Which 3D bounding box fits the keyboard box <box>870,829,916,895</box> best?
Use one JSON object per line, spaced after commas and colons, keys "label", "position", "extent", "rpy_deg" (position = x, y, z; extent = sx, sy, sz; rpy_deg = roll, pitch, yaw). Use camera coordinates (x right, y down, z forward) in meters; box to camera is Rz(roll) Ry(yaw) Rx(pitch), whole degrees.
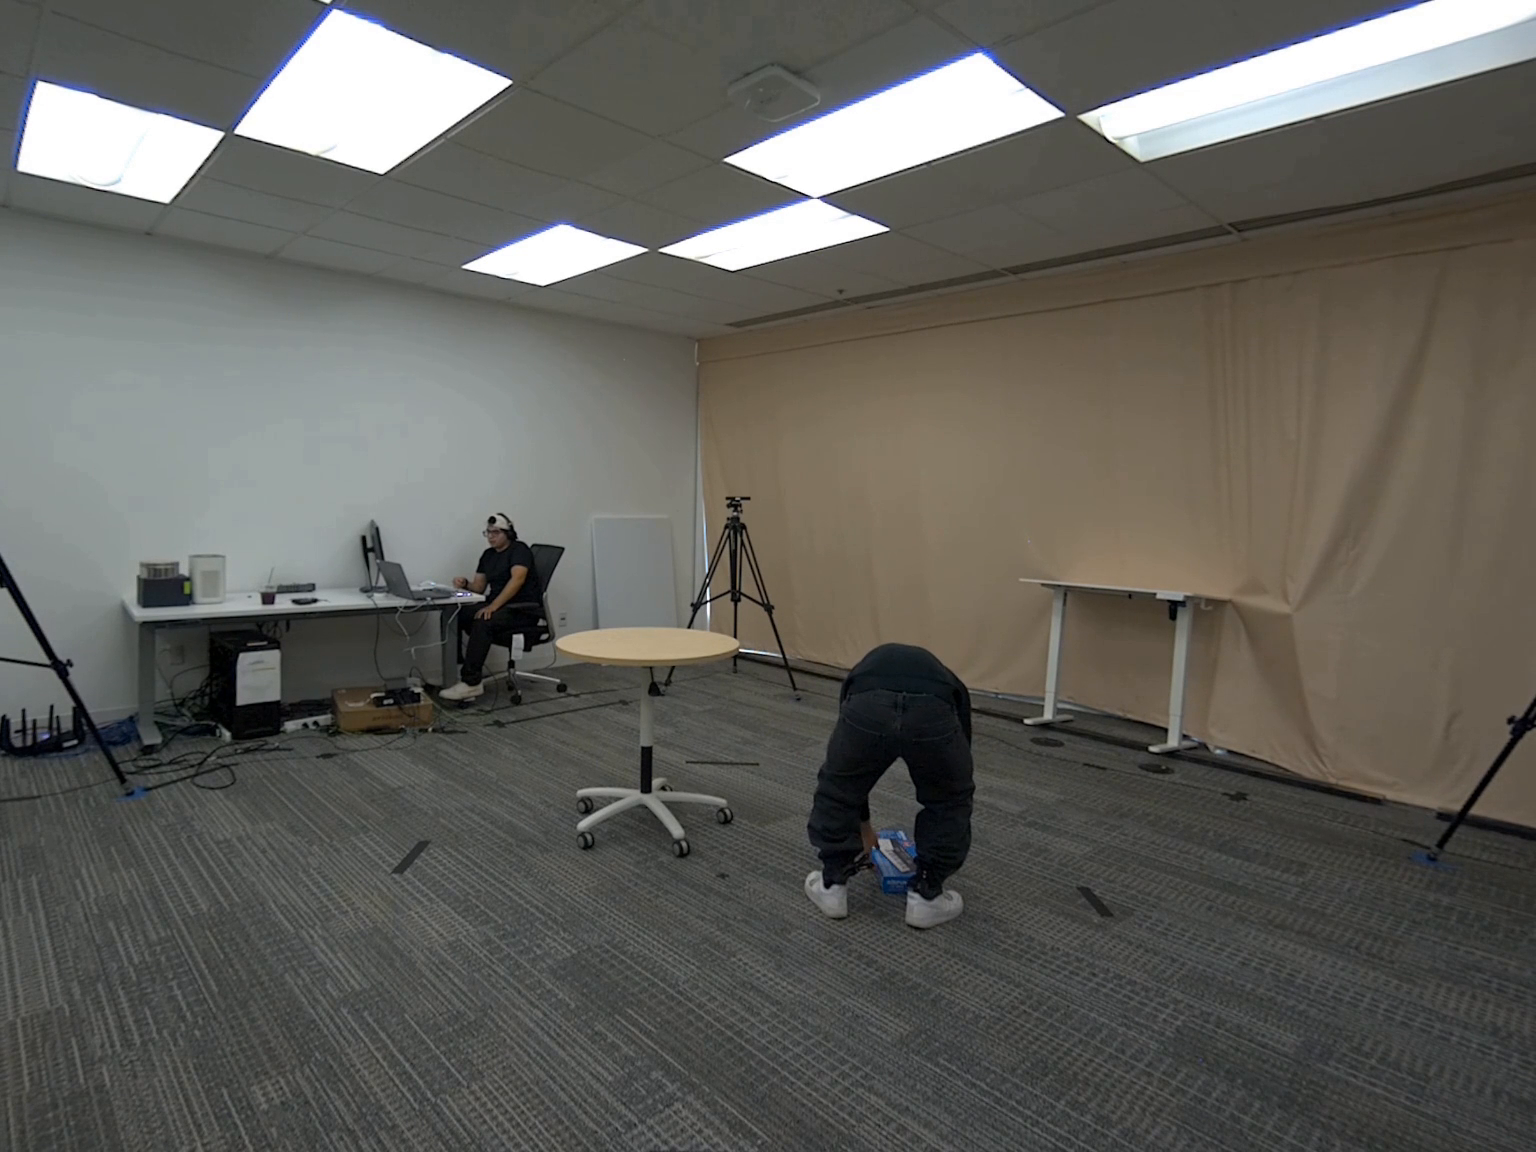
{"label": "keyboard box", "position": [0.474, 1.082, 3.214], "extent": [0.175, 0.059, 0.439], "rpy_deg": [2, 5, -4]}
